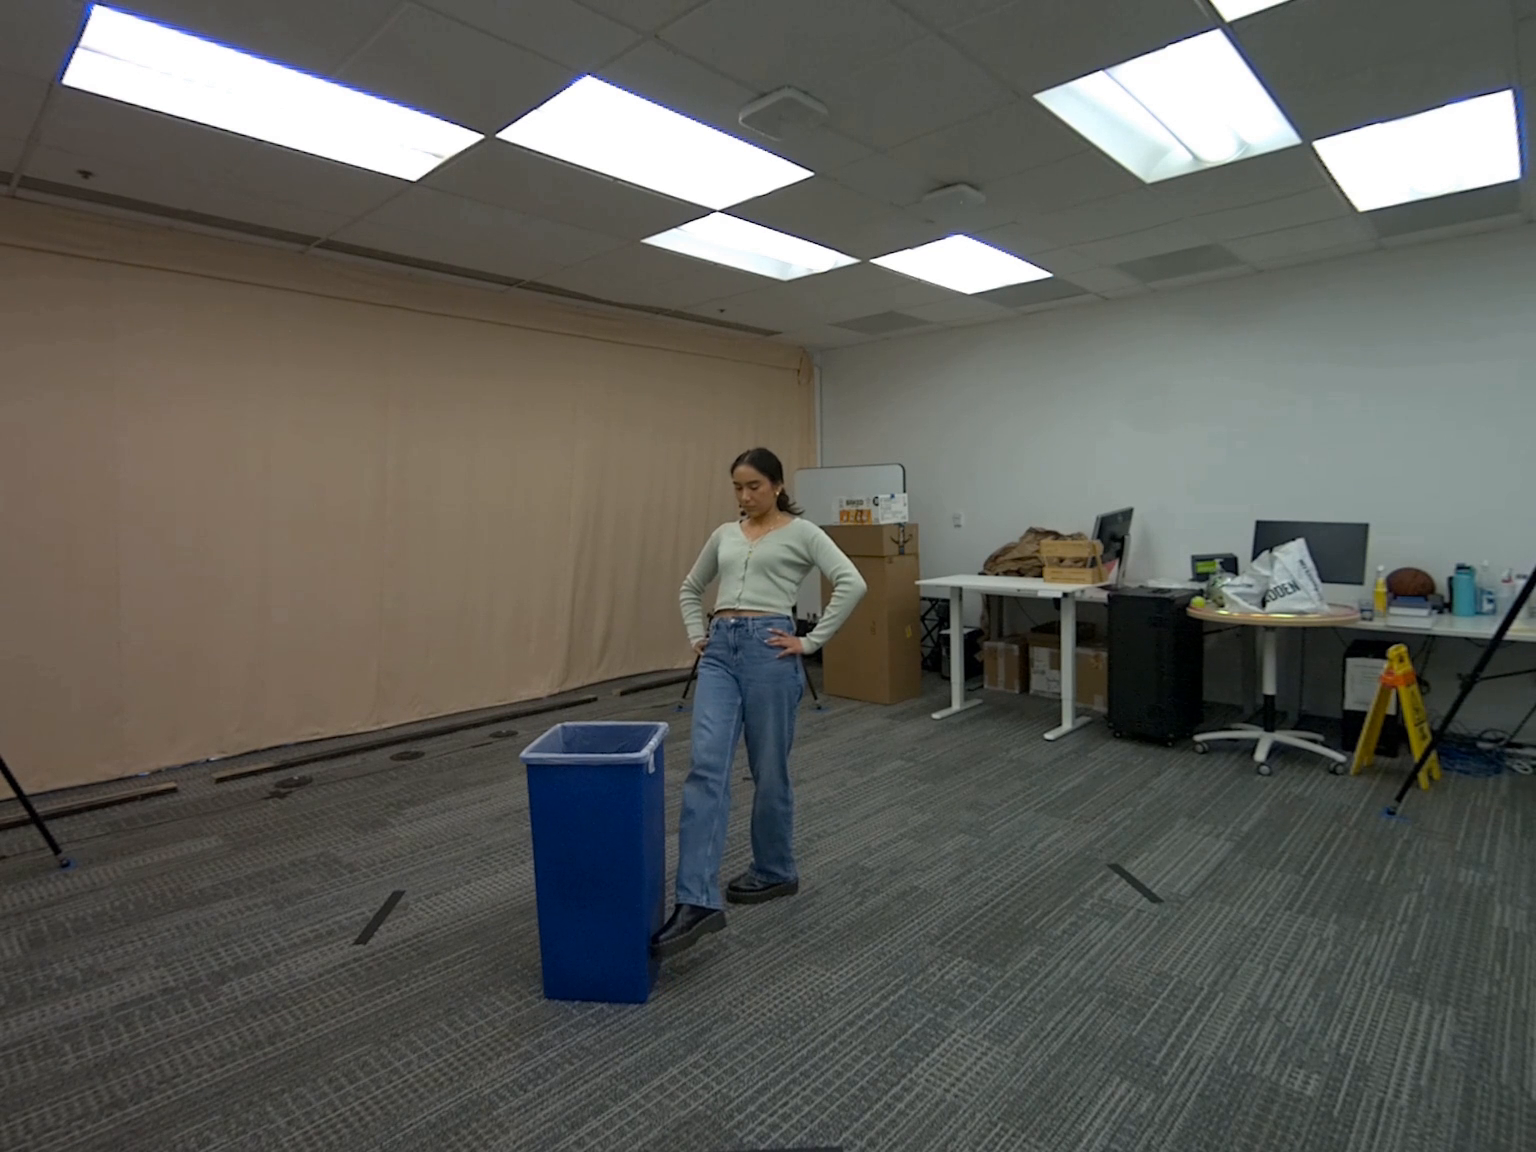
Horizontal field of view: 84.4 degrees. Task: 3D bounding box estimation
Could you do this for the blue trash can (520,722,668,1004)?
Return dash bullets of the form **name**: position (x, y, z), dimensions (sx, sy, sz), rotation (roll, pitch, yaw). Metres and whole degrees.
- **blue trash can**: position (-0.494, 0.835, 2.504), dimensions (0.381, 0.712, 0.372), rotation (-2, 3, 6)
